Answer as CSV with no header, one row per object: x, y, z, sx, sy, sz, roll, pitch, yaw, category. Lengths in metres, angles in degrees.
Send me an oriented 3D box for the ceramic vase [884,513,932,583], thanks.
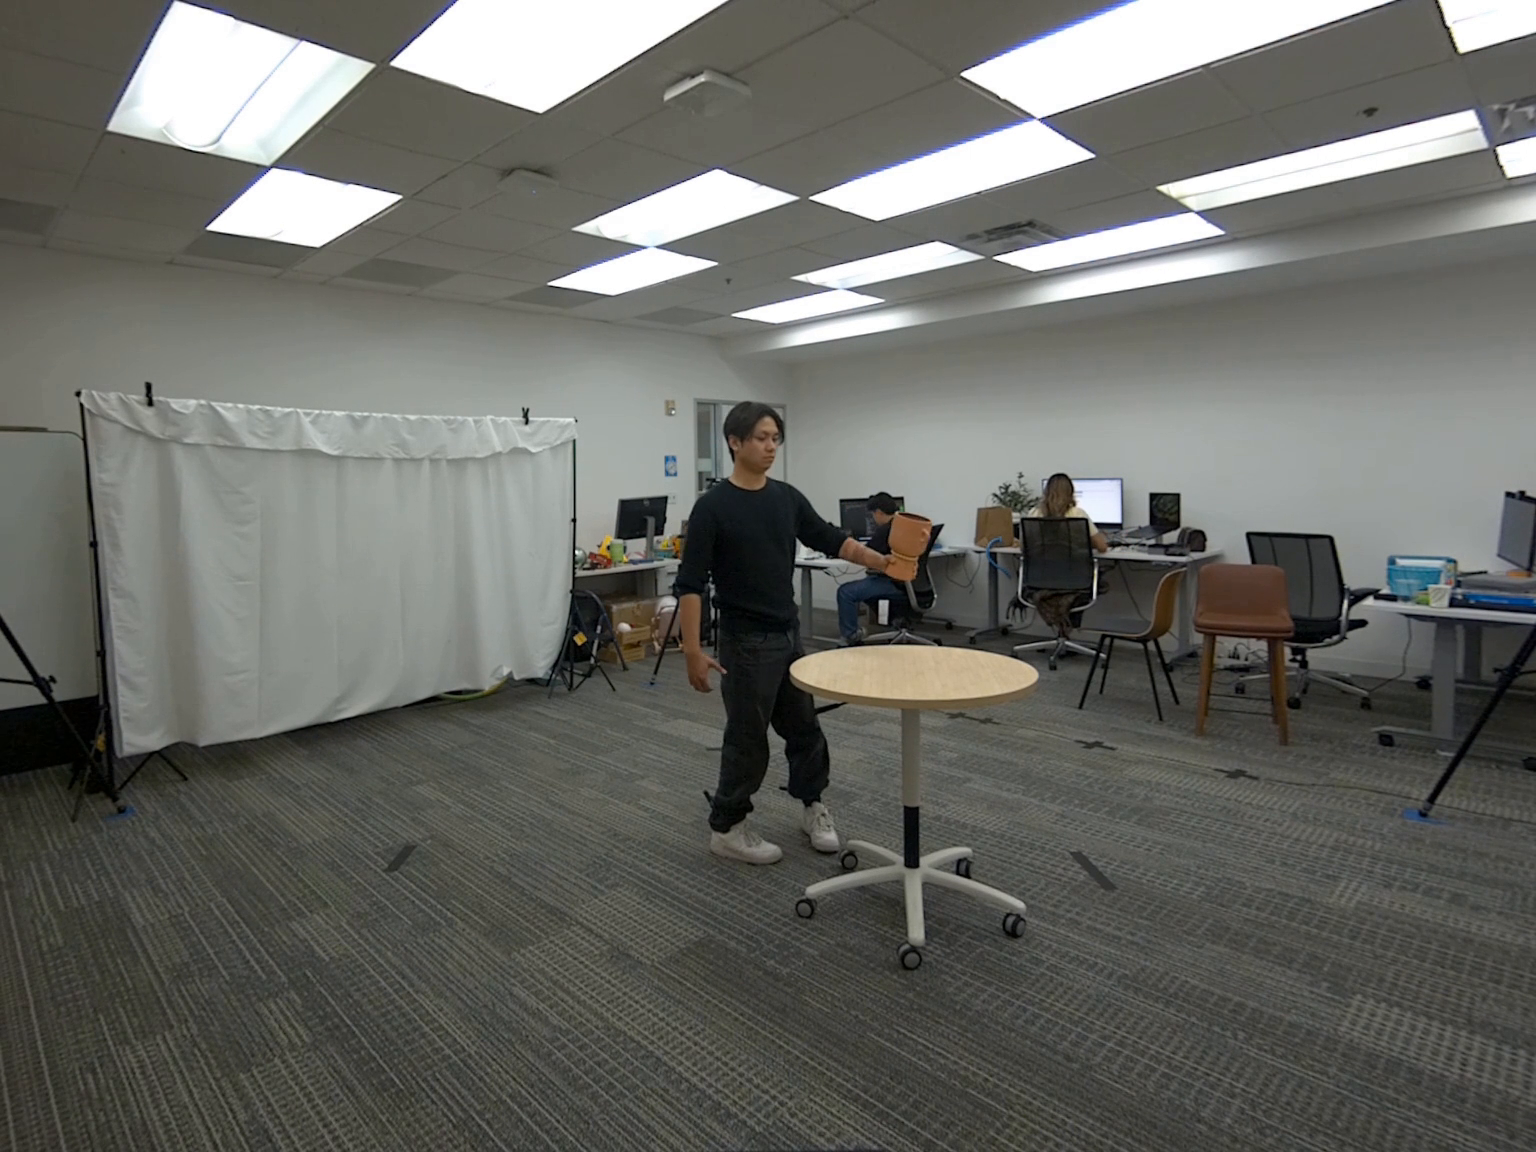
0.489,-0.104,3.008,0.136,0.217,0.159,14,15,8,ceramic vase
